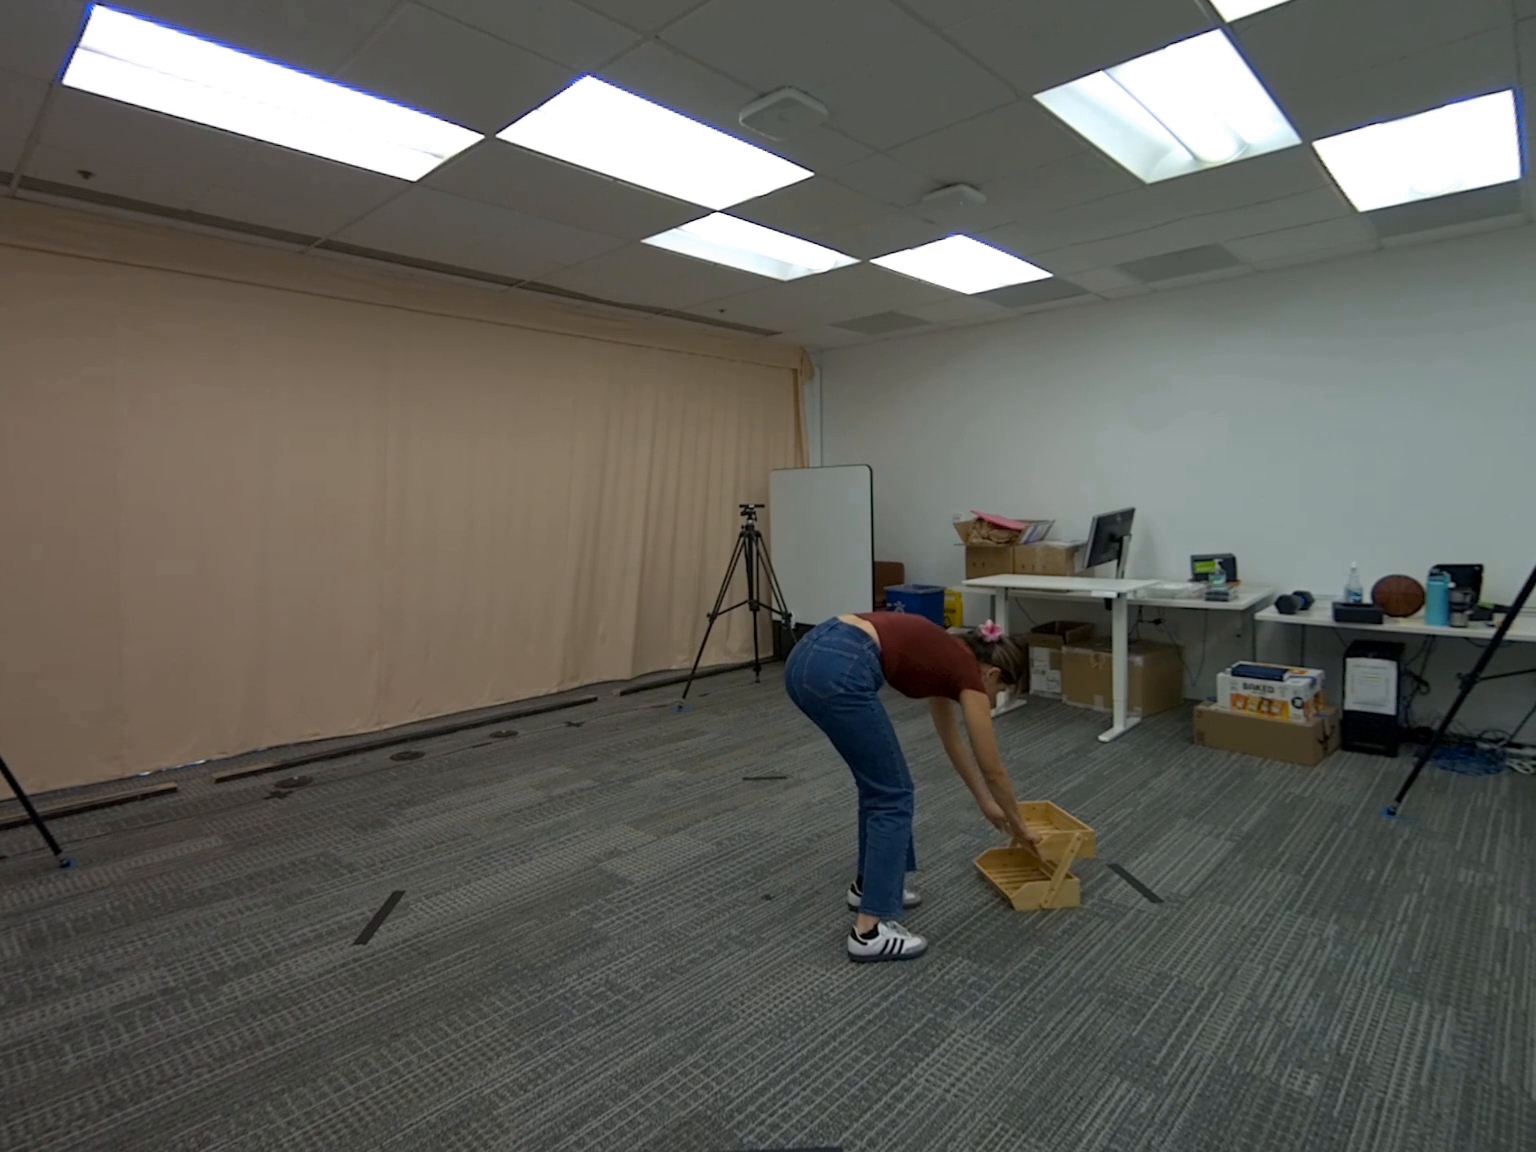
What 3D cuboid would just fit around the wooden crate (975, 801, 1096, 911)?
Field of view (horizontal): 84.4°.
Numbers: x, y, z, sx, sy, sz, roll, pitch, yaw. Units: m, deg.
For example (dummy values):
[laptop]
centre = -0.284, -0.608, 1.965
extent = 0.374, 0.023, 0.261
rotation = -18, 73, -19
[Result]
[wooden crate]
centre = 0.947, 0.989, 3.010
extent = 0.299, 0.273, 0.329
rotation = -1, 4, -11
